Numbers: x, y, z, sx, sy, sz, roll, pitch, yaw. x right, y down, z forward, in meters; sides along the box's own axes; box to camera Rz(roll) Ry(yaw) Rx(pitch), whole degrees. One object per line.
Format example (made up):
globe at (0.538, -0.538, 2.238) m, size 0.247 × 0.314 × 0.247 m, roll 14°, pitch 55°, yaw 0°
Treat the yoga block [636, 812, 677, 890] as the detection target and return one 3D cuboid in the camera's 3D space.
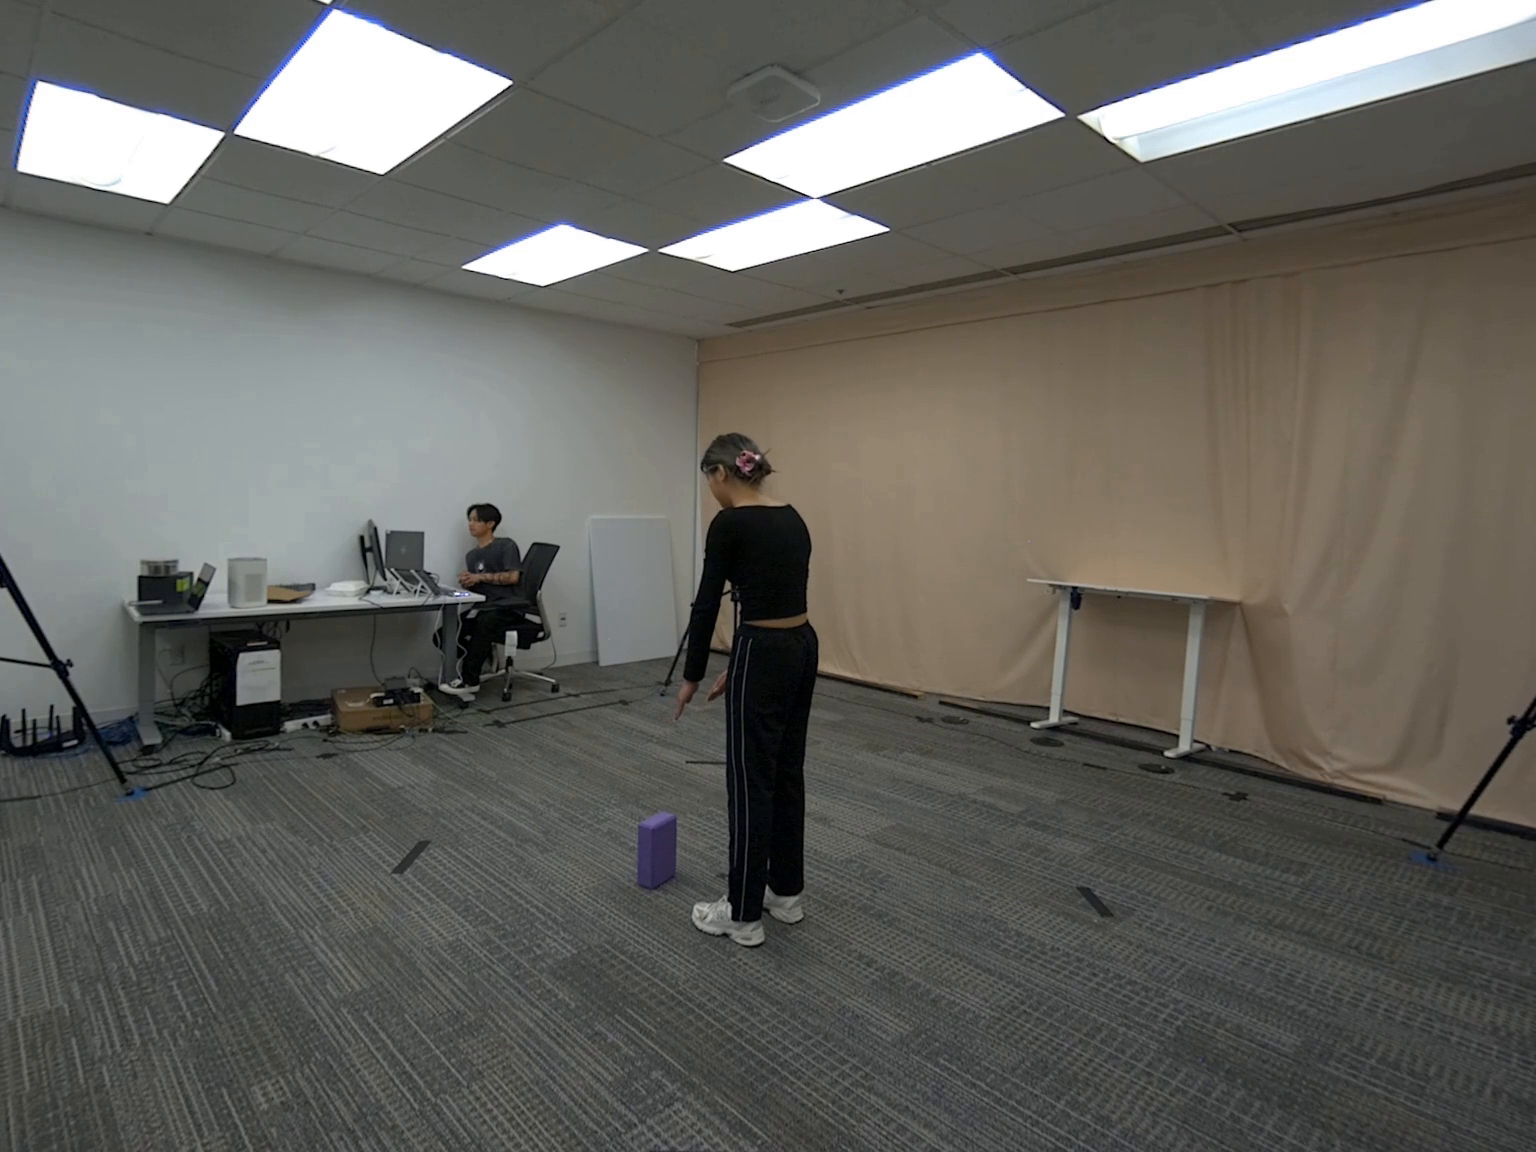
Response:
yoga block at (-0.409, 0.993, 3.043) m, size 0.078 × 0.229 × 0.146 m, roll 3°, pitch 5°, yaw 30°
